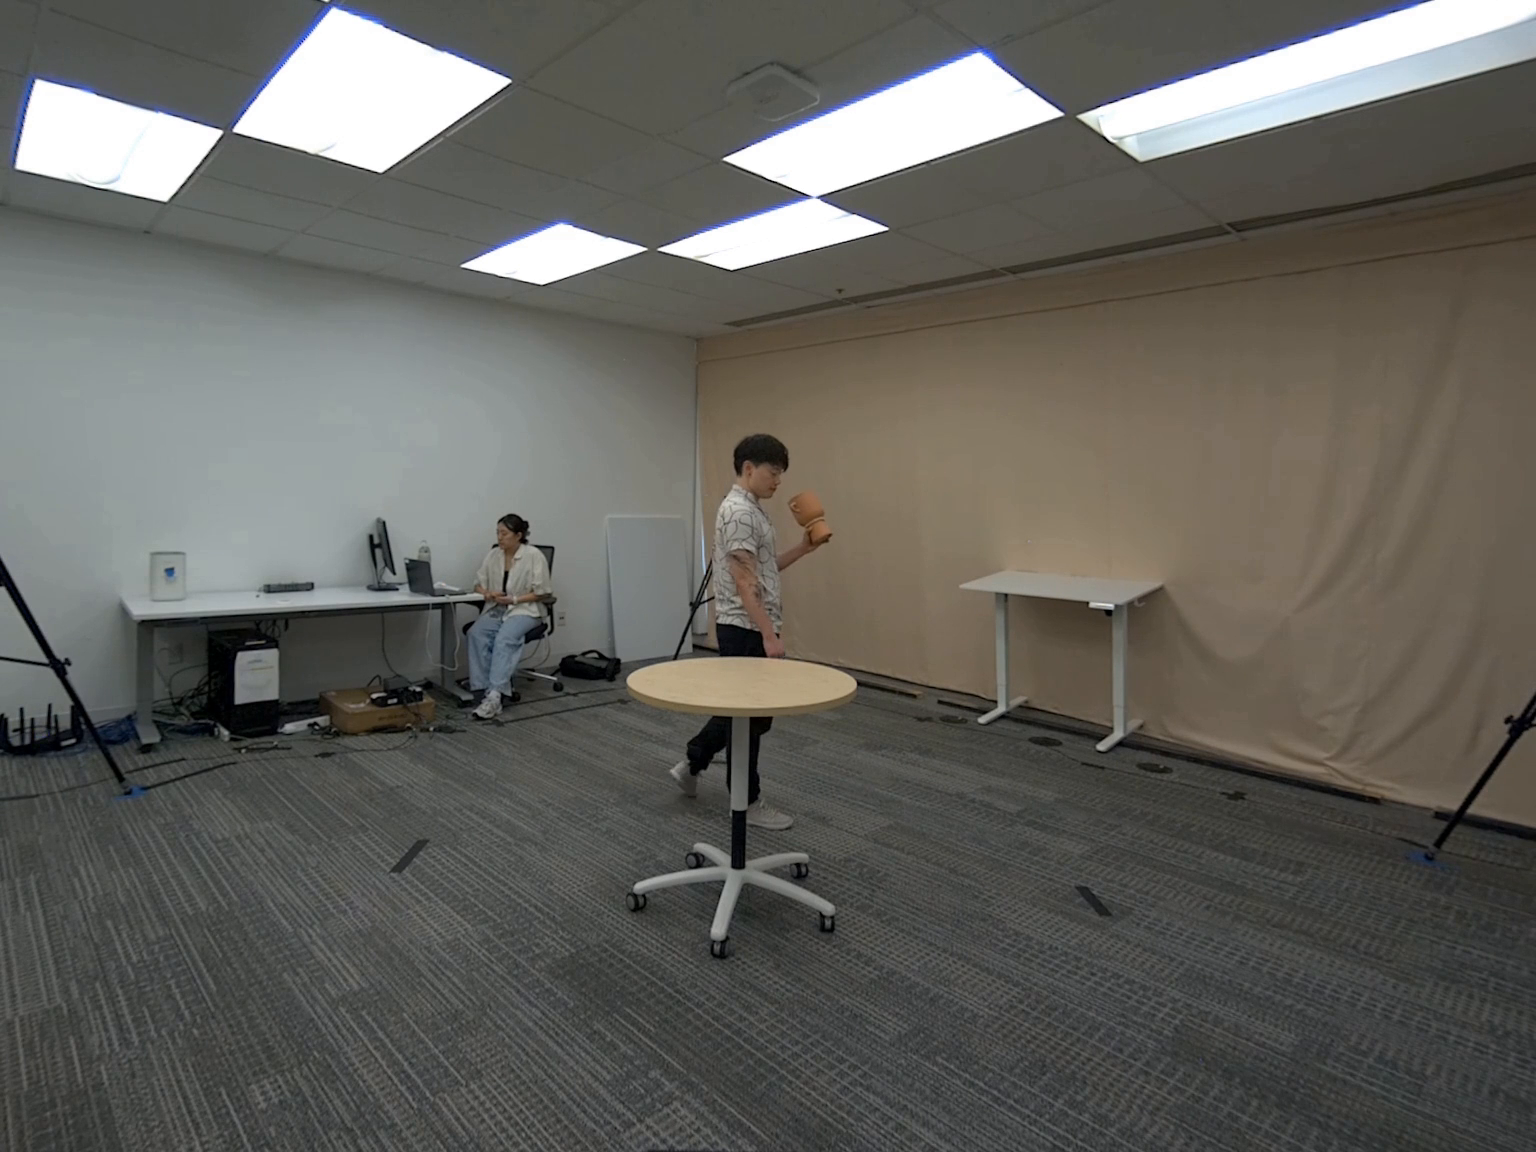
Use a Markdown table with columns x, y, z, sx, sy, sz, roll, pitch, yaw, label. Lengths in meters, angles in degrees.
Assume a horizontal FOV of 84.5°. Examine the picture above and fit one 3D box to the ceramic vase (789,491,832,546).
| x | y | z | sx | sy | sz | roll | pitch | yaw | label |
| --- | --- | --- | --- | --- | --- | --- | --- | --- | --- |
| 0.184 | -0.259 | 3.766 | 0.158 | 0.223 | 0.133 | -24 | -17 | -8 | ceramic vase |
